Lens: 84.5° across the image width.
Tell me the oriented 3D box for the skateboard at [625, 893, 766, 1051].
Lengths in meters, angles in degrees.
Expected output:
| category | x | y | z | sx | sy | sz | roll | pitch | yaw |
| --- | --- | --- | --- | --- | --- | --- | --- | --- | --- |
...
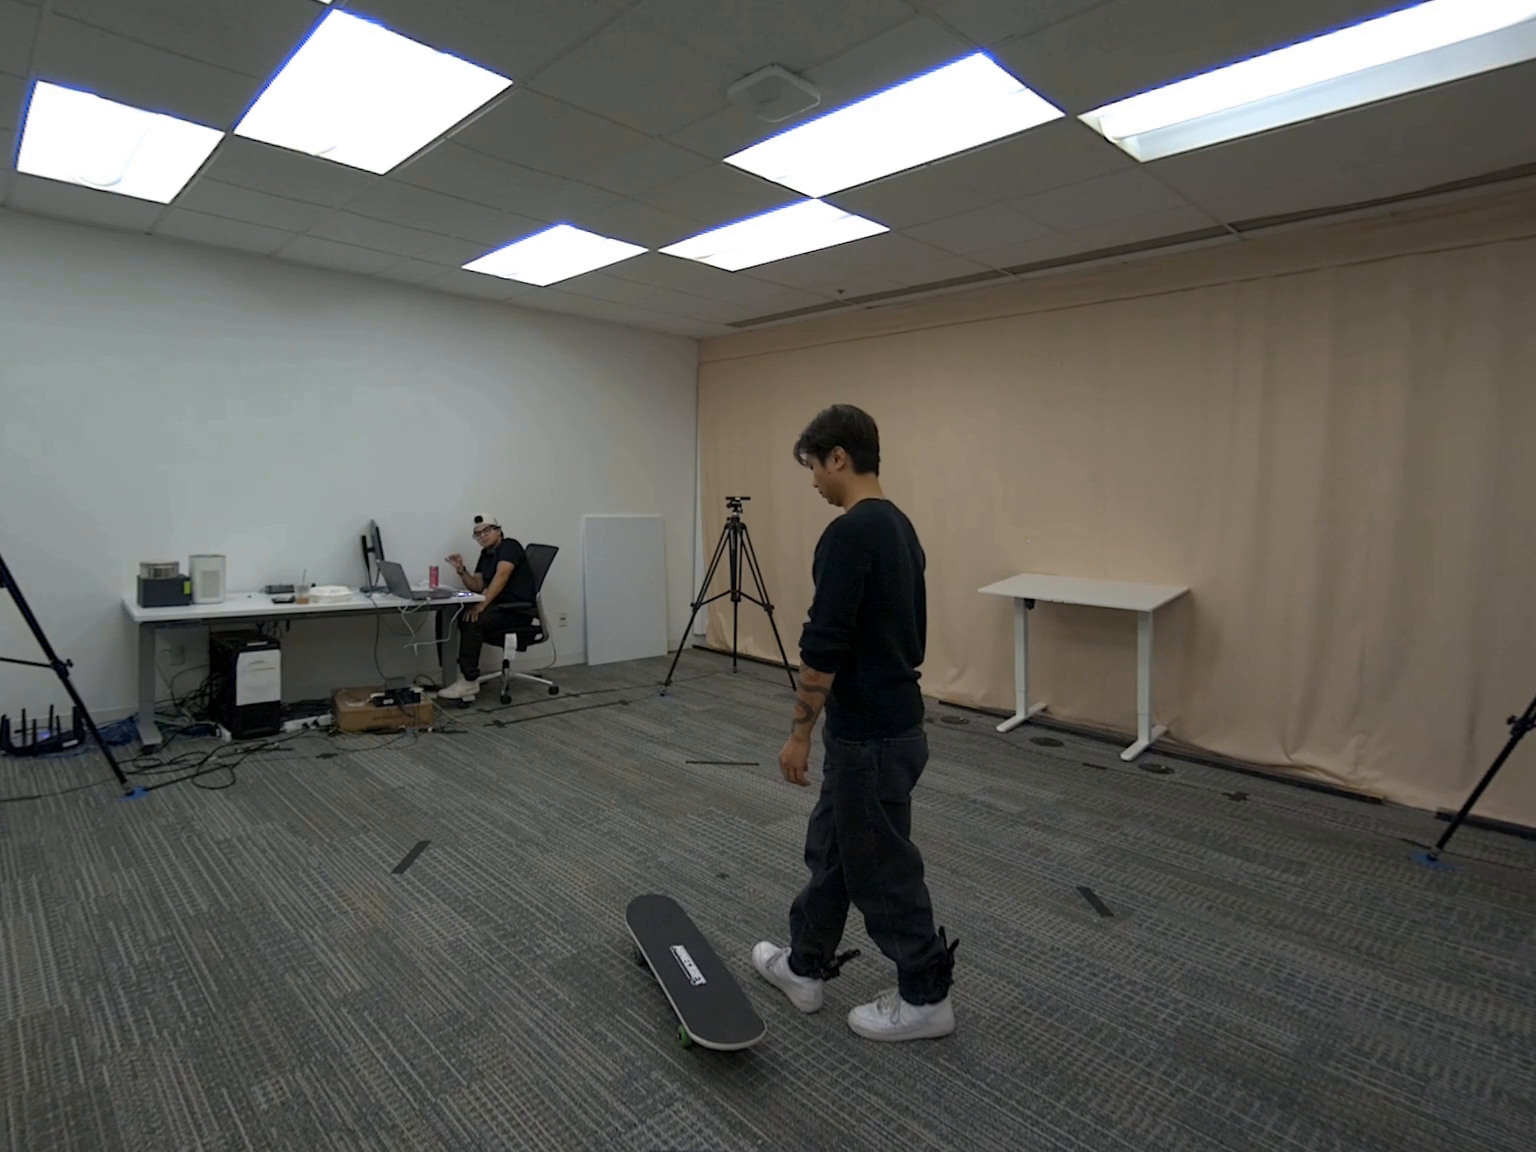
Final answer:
| category | x | y | z | sx | sy | sz | roll | pitch | yaw |
| --- | --- | --- | --- | --- | --- | --- | --- | --- | --- |
| skateboard | -0.237 | 1.116 | 2.355 | 0.190 | 0.110 | 0.801 | -1 | 6 | -24 |
